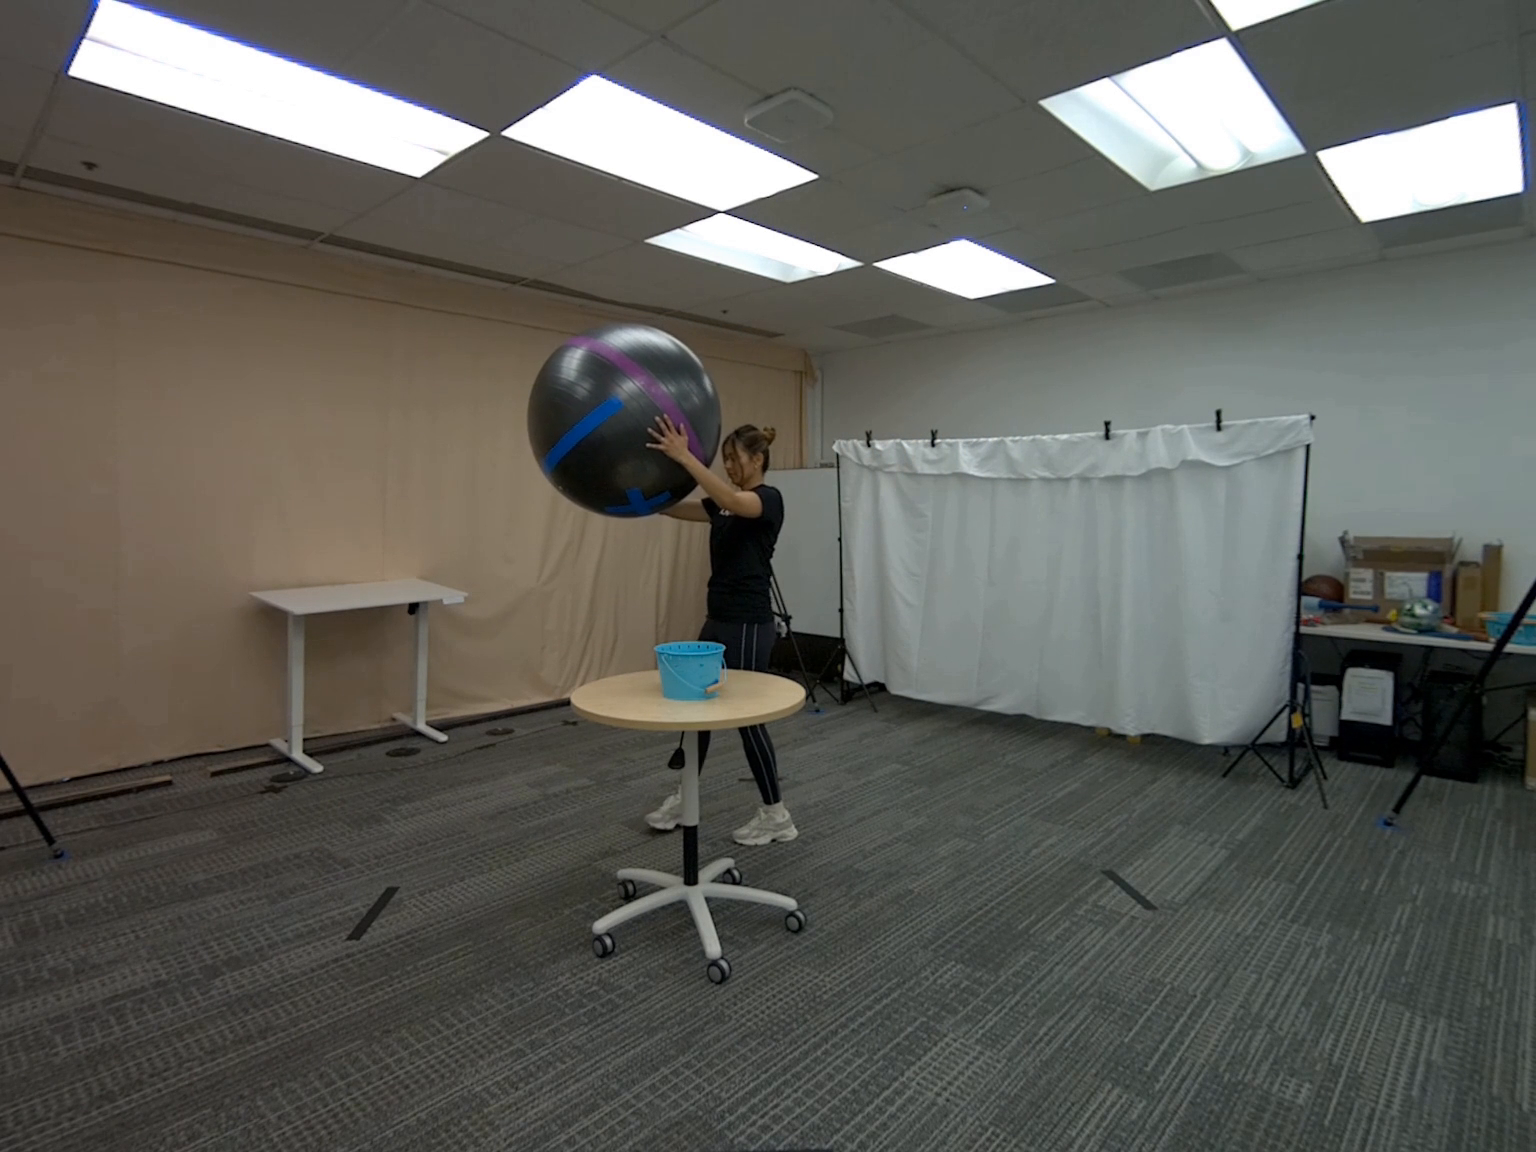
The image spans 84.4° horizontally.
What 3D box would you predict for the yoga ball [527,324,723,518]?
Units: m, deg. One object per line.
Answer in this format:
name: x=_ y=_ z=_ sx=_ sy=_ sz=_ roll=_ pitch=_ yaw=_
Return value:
yoga ball: x=-0.566 y=-0.604 z=3.314 sx=0.757 sy=0.756 sz=0.761 roll=0 pitch=4 yaw=-2
